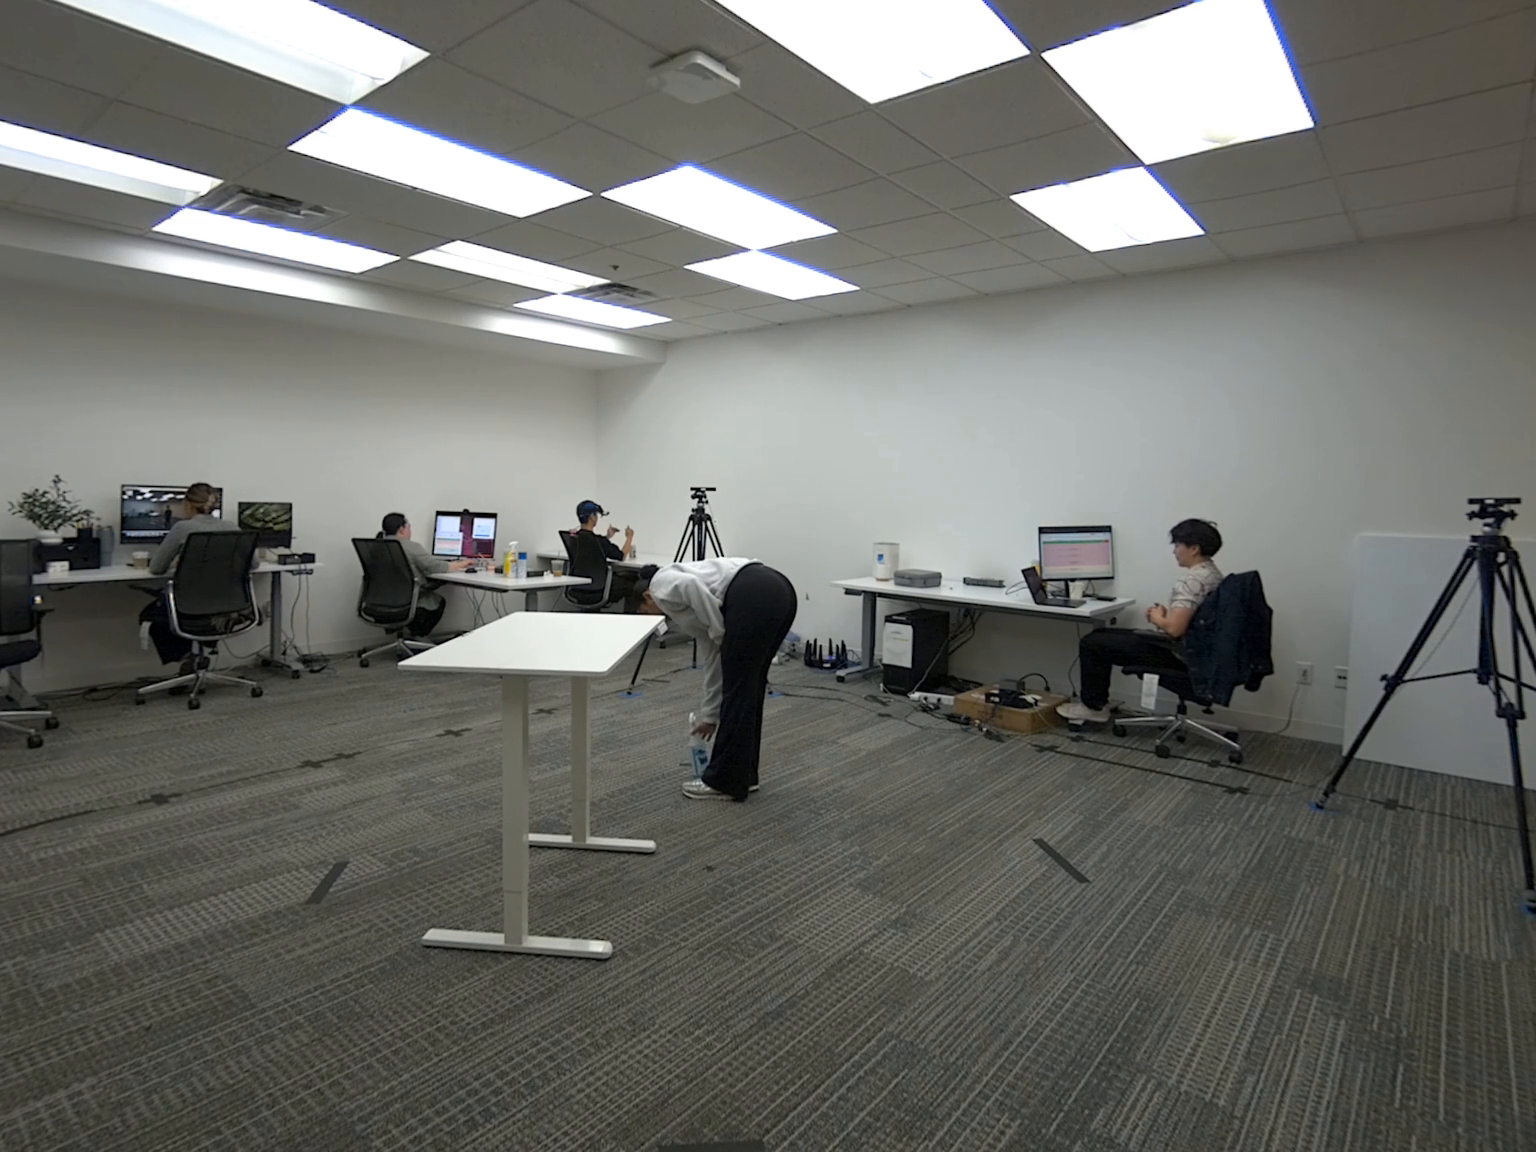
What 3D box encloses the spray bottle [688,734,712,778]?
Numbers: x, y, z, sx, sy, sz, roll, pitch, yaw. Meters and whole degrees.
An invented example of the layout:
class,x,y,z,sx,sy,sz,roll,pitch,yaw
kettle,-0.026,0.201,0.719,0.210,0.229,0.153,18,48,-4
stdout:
class,x,y,z,sx,sy,sz,roll,pitch,yaw
spray bottle,-0.356,0.818,4.124,0.089,0.297,0.088,-11,-1,29
